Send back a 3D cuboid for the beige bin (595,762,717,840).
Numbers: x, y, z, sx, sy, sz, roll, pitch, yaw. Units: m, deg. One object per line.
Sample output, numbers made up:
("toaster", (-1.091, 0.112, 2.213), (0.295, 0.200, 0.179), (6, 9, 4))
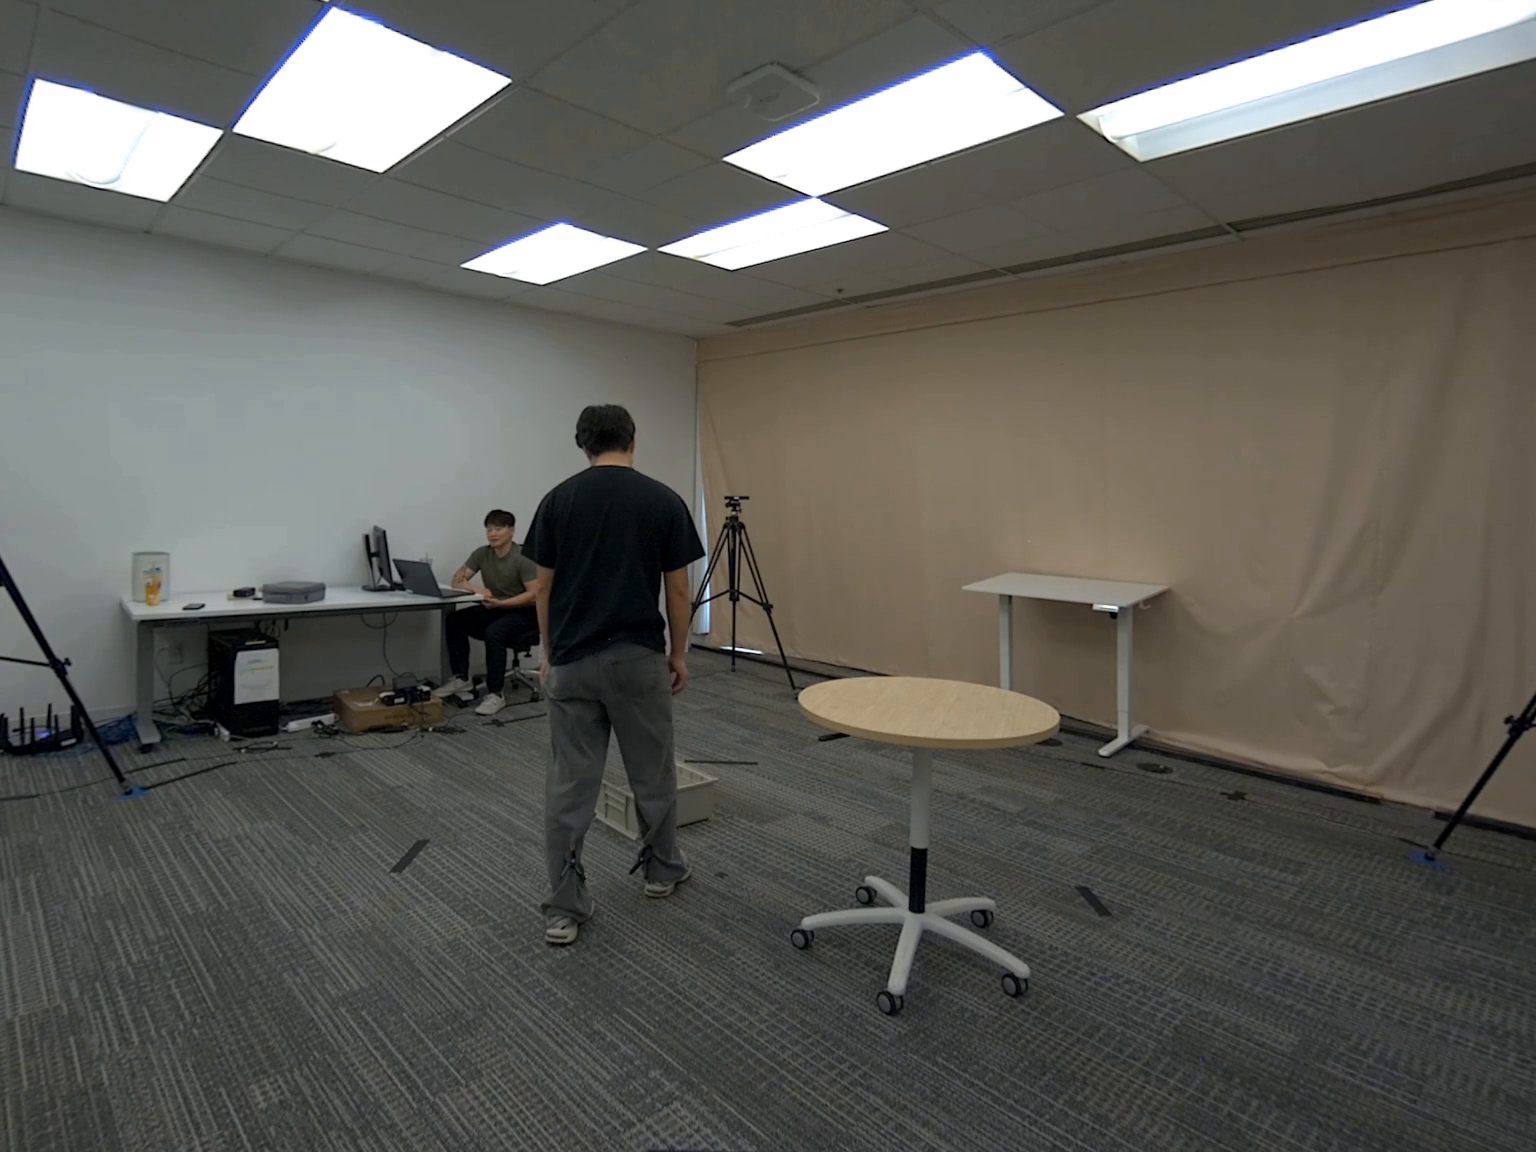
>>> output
("beige bin", (-0.500, 0.956, 3.652), (0.413, 0.188, 0.387), (-2, 7, -40))
